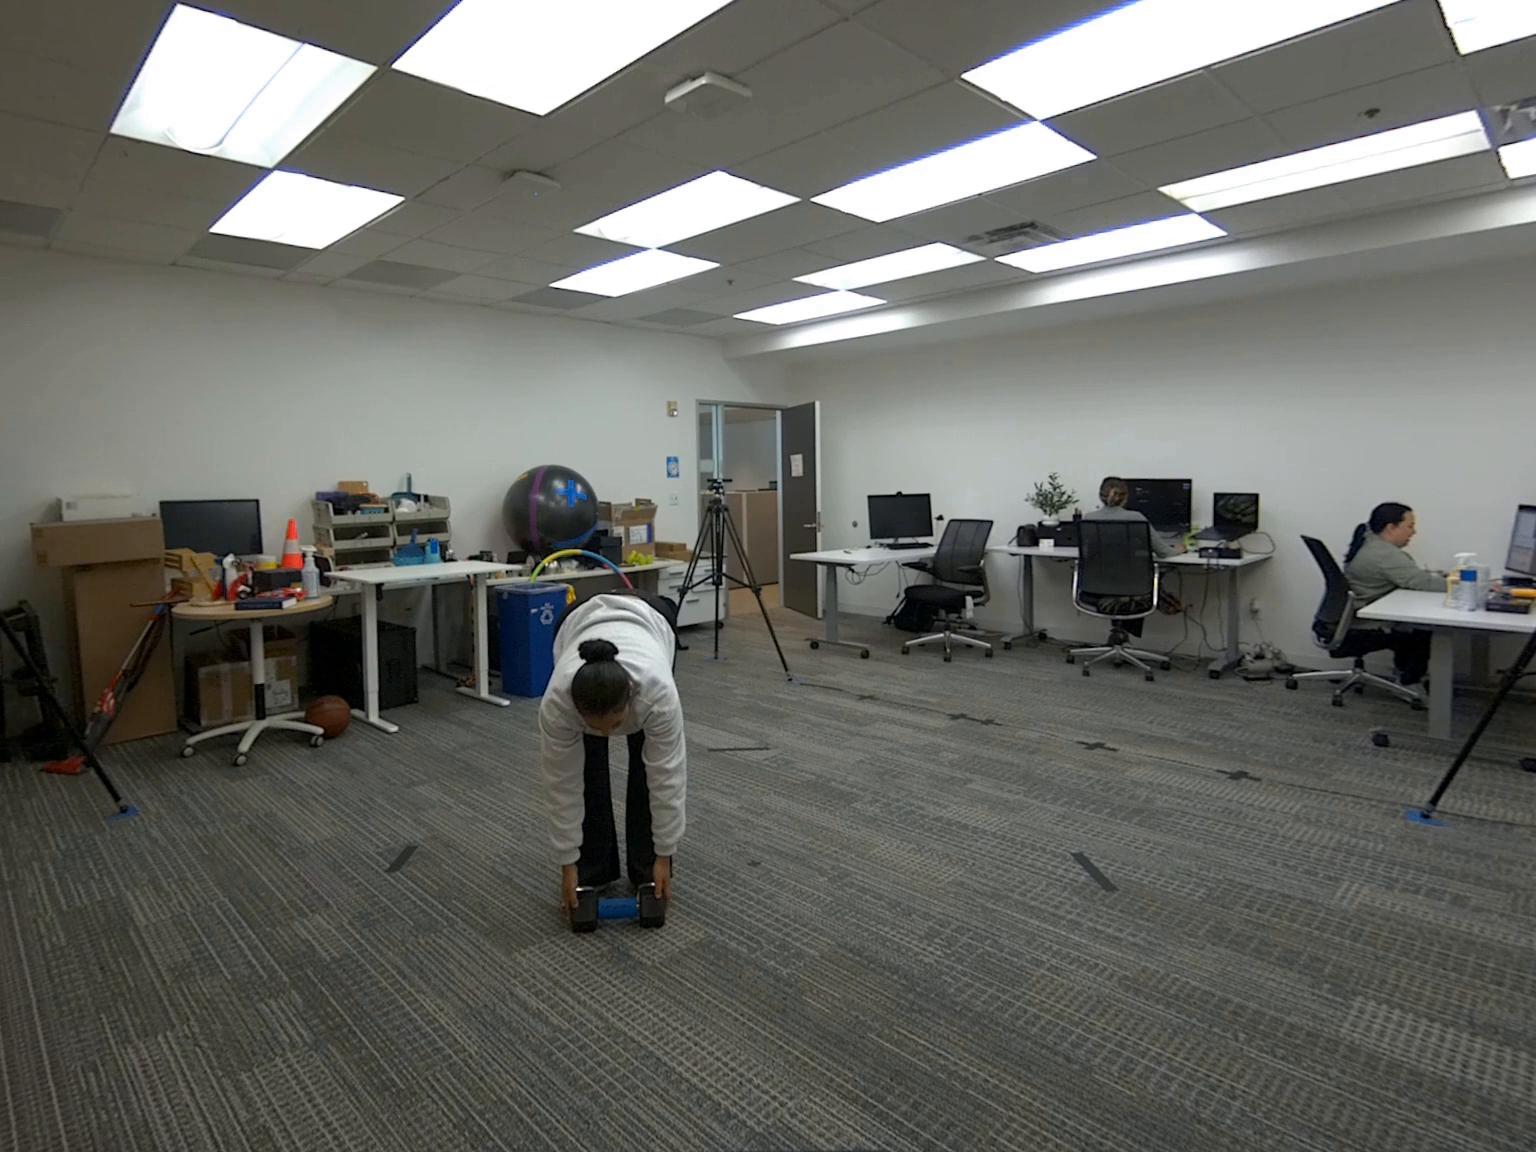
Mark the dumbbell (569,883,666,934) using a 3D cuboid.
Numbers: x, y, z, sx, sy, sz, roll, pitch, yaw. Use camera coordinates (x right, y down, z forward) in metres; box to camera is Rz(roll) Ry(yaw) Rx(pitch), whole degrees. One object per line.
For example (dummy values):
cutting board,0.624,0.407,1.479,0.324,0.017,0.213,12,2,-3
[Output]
dumbbell,-0.470,1.054,2.693,0.292,0.126,0.107,-1,-27,-6
